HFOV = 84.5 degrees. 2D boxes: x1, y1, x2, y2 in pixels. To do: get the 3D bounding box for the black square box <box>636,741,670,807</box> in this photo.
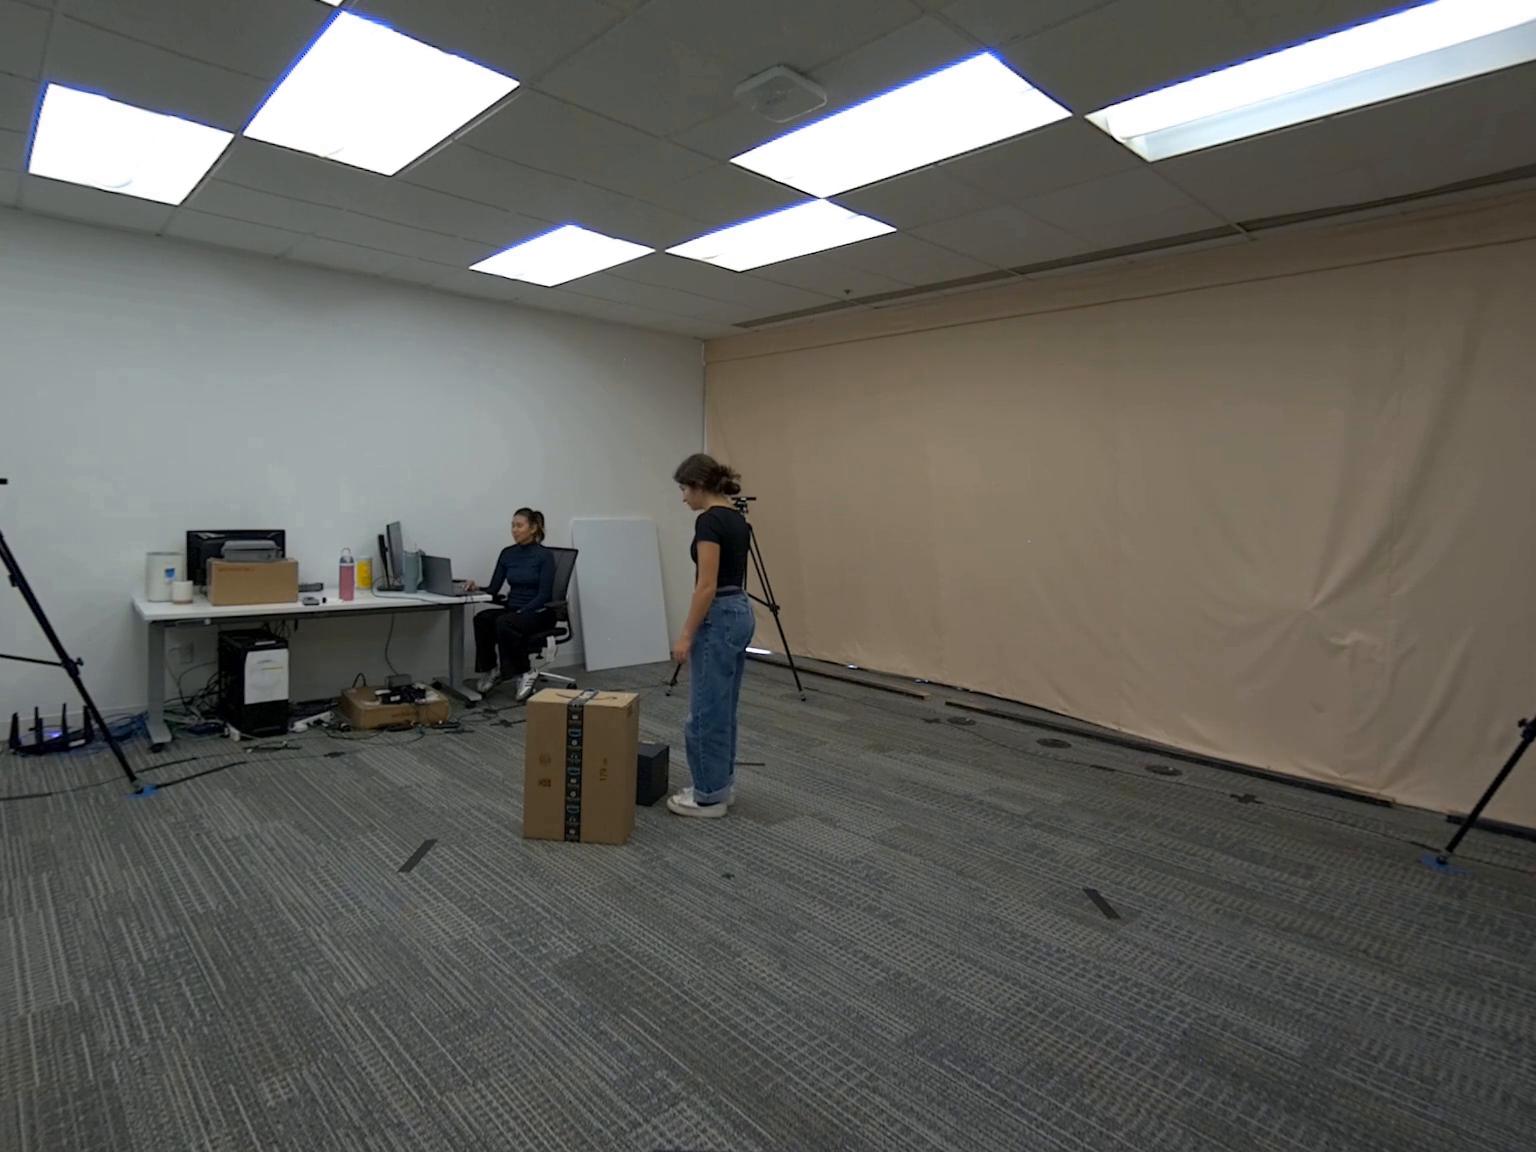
[{"bbox_3d":[-0.571,0.901,3.901,0.158,0.227,0.214,3,4,16],"label":"black square box"}]
